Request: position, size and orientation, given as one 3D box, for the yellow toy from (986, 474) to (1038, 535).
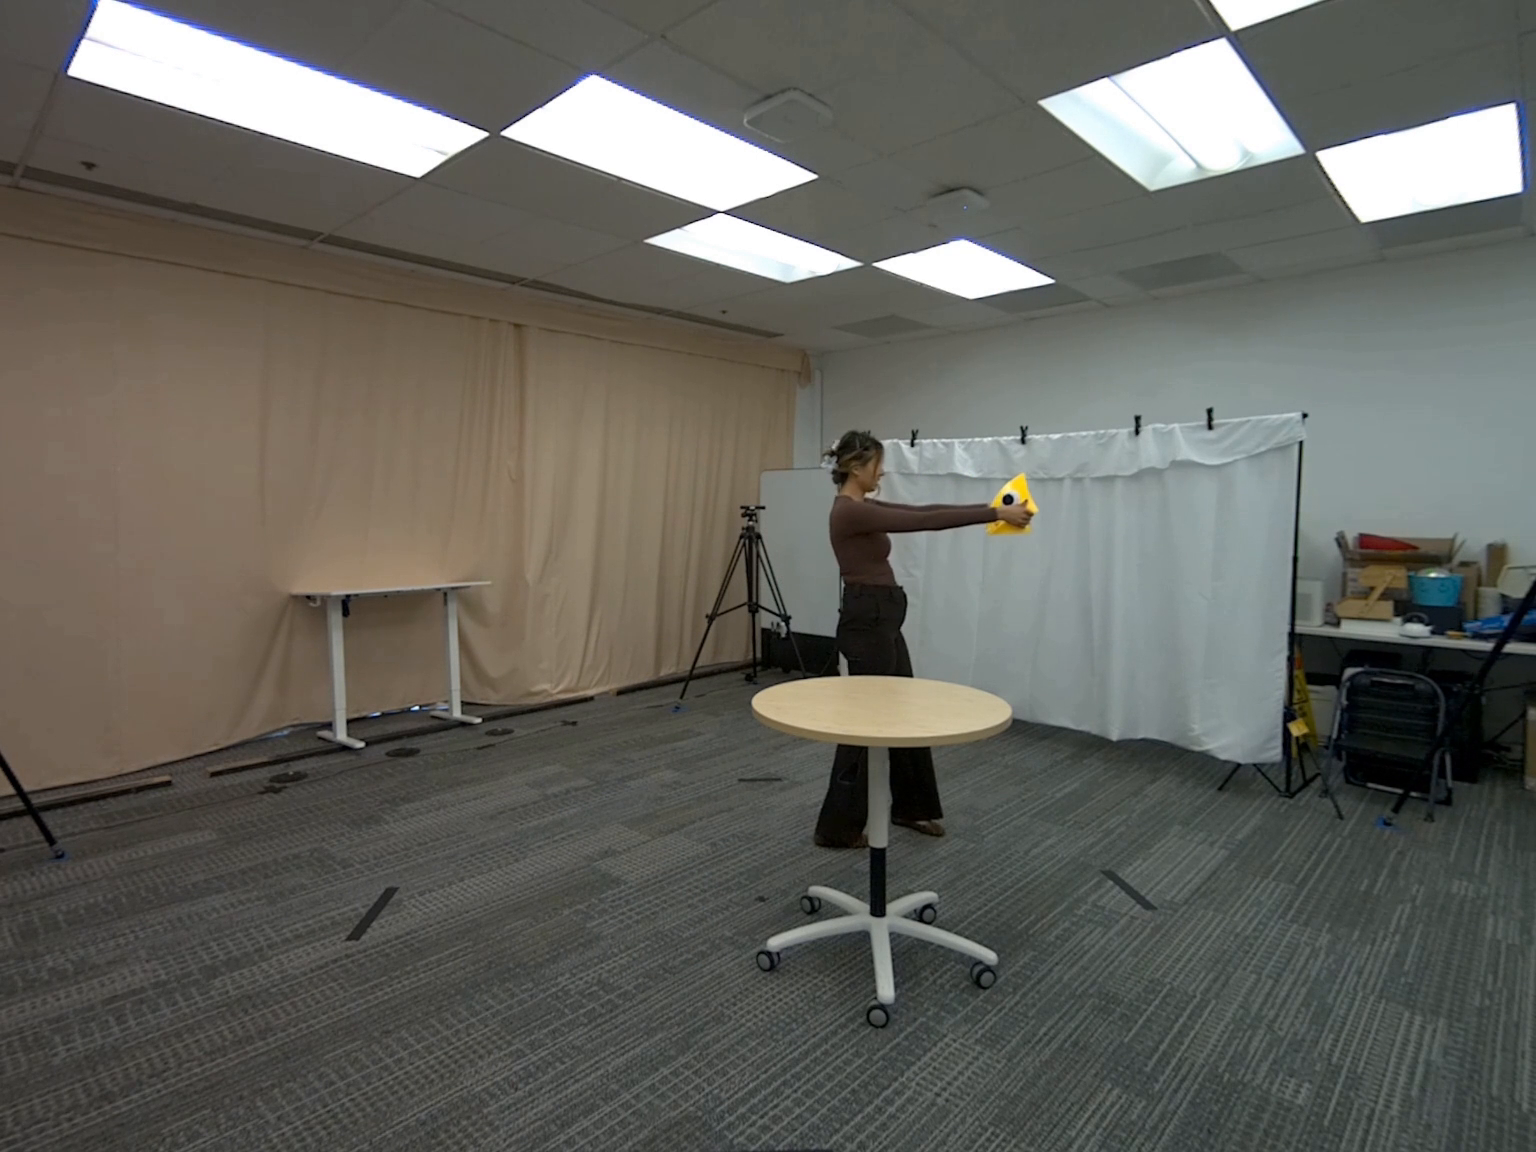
[{"bbox_3d":[0.962,-0.290,3.318,0.195,0.230,0.203,-4,6,9],"label":"yellow toy"}]
